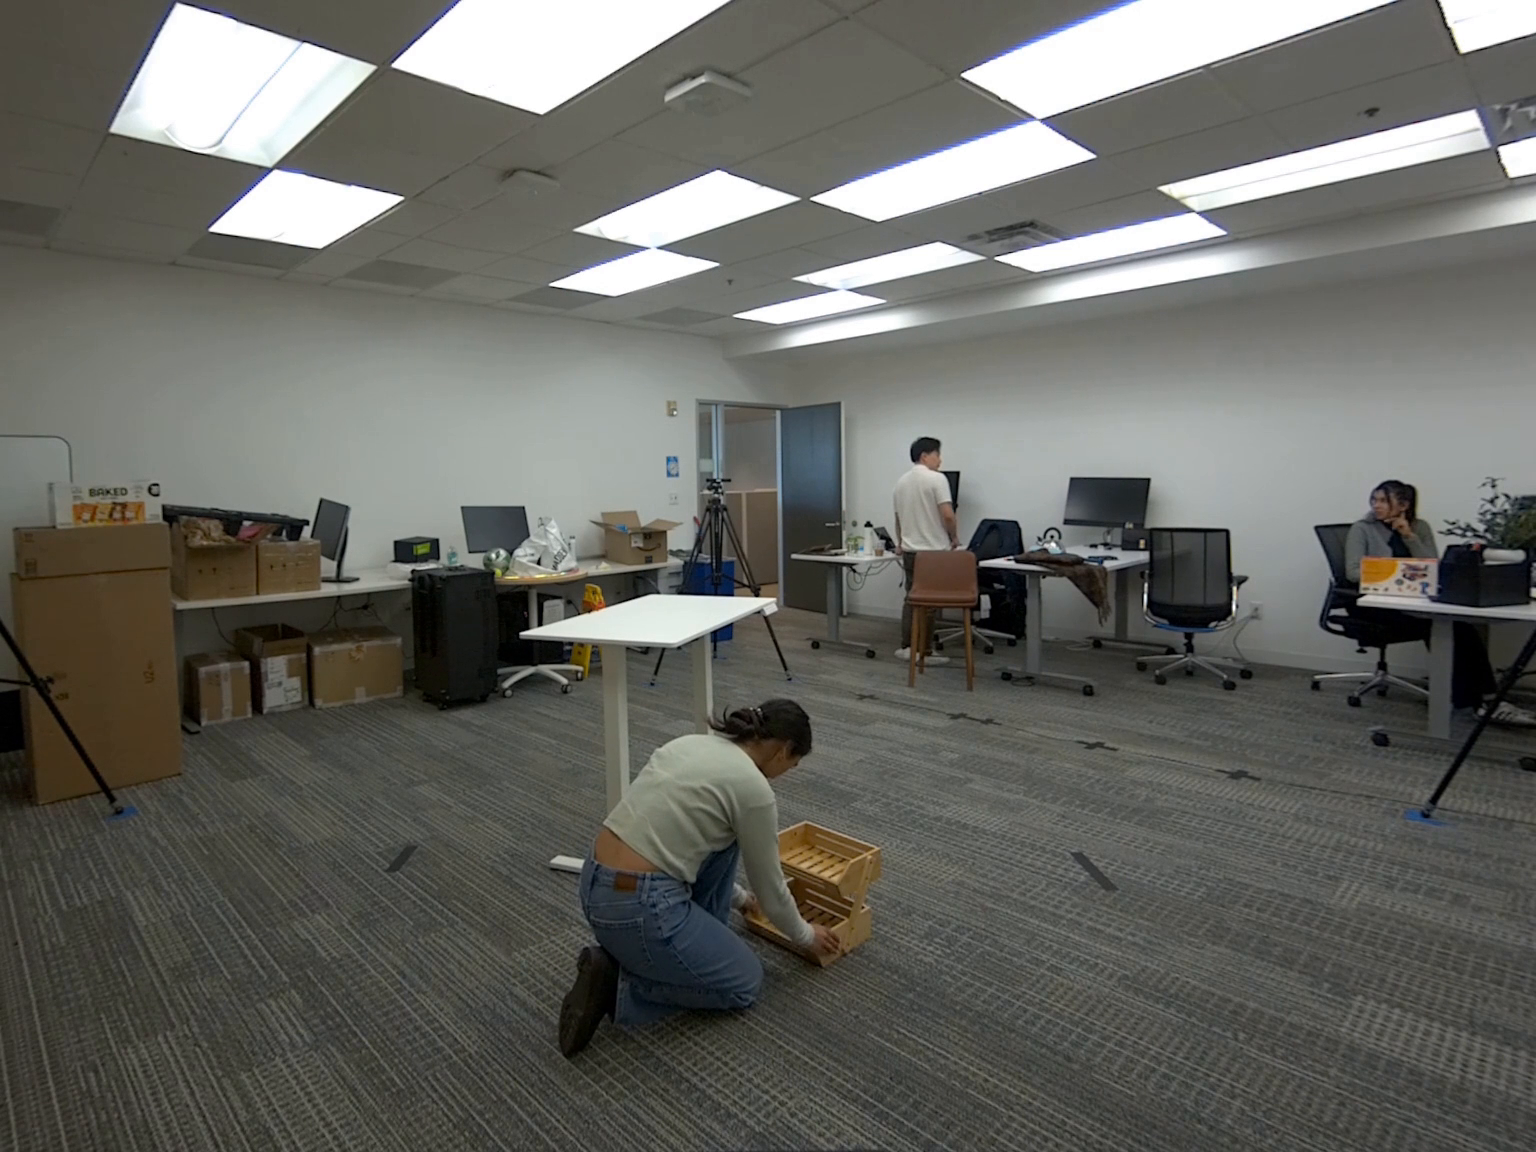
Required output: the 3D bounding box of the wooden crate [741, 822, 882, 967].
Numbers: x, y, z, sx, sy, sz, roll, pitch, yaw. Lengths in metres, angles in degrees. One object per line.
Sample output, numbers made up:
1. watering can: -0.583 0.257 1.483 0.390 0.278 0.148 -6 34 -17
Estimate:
1. wooden crate: 0.141 0.963 2.628 0.334 0.272 0.294 4 7 44
